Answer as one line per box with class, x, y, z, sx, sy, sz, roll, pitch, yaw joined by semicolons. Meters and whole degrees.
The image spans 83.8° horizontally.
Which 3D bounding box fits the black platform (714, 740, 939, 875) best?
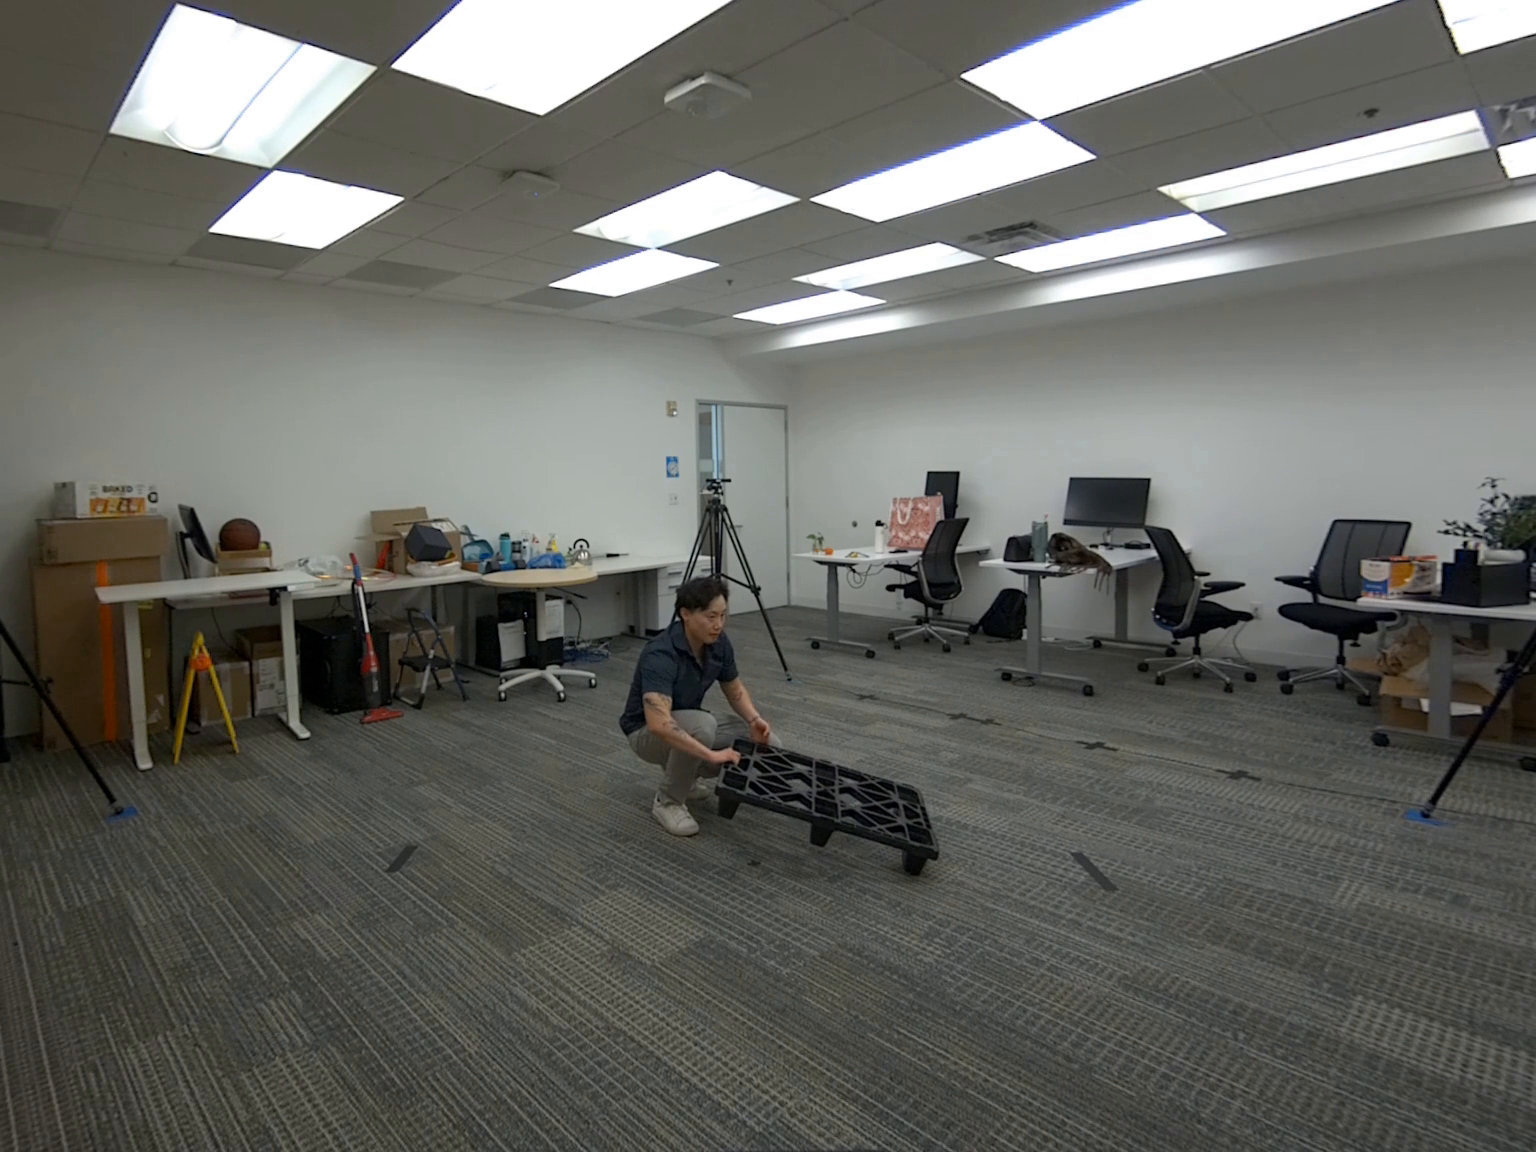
black platform;0.203;0.859;3.244;0.810;0.143;0.604;15;6;4
